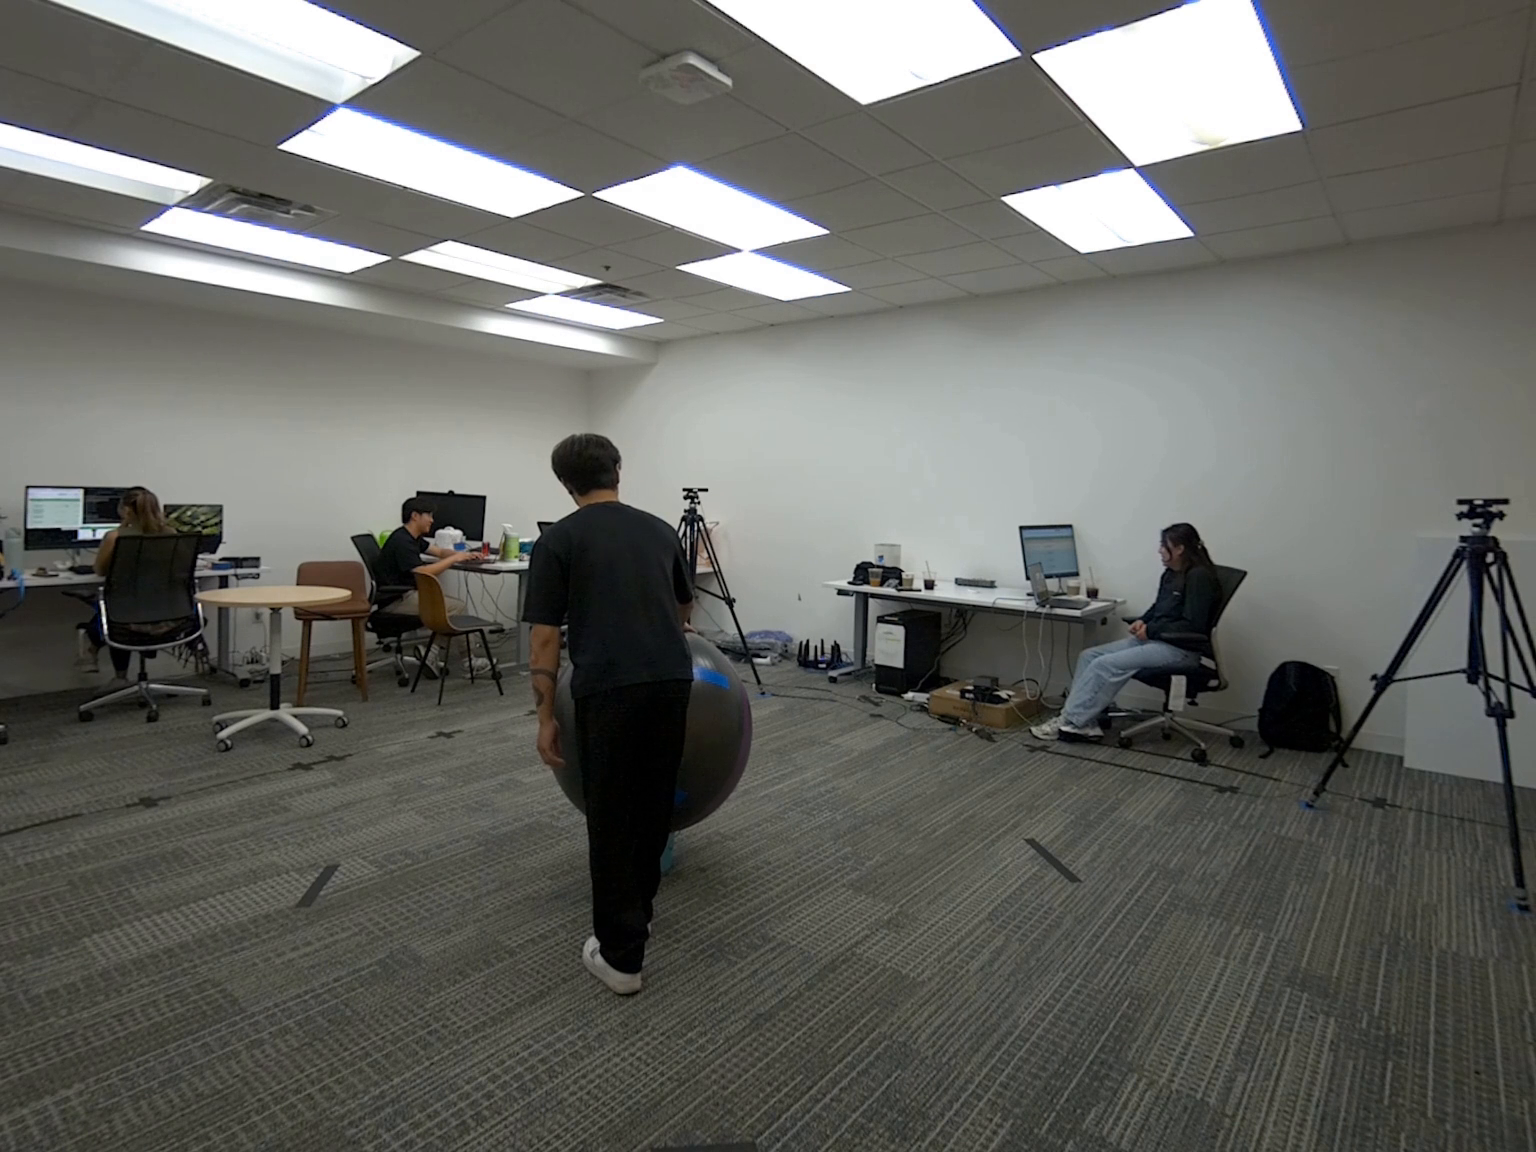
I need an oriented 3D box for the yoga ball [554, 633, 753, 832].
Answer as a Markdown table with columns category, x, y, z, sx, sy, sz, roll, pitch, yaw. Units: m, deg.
| category | x | y | z | sx | sy | sz | roll | pitch | yaw |
| --- | --- | --- | --- | --- | --- | --- | --- | --- | --- |
| yoga ball | -0.445 | 0.552 | 3.136 | 0.757 | 0.756 | 0.762 | 1 | 4 | -2 |
